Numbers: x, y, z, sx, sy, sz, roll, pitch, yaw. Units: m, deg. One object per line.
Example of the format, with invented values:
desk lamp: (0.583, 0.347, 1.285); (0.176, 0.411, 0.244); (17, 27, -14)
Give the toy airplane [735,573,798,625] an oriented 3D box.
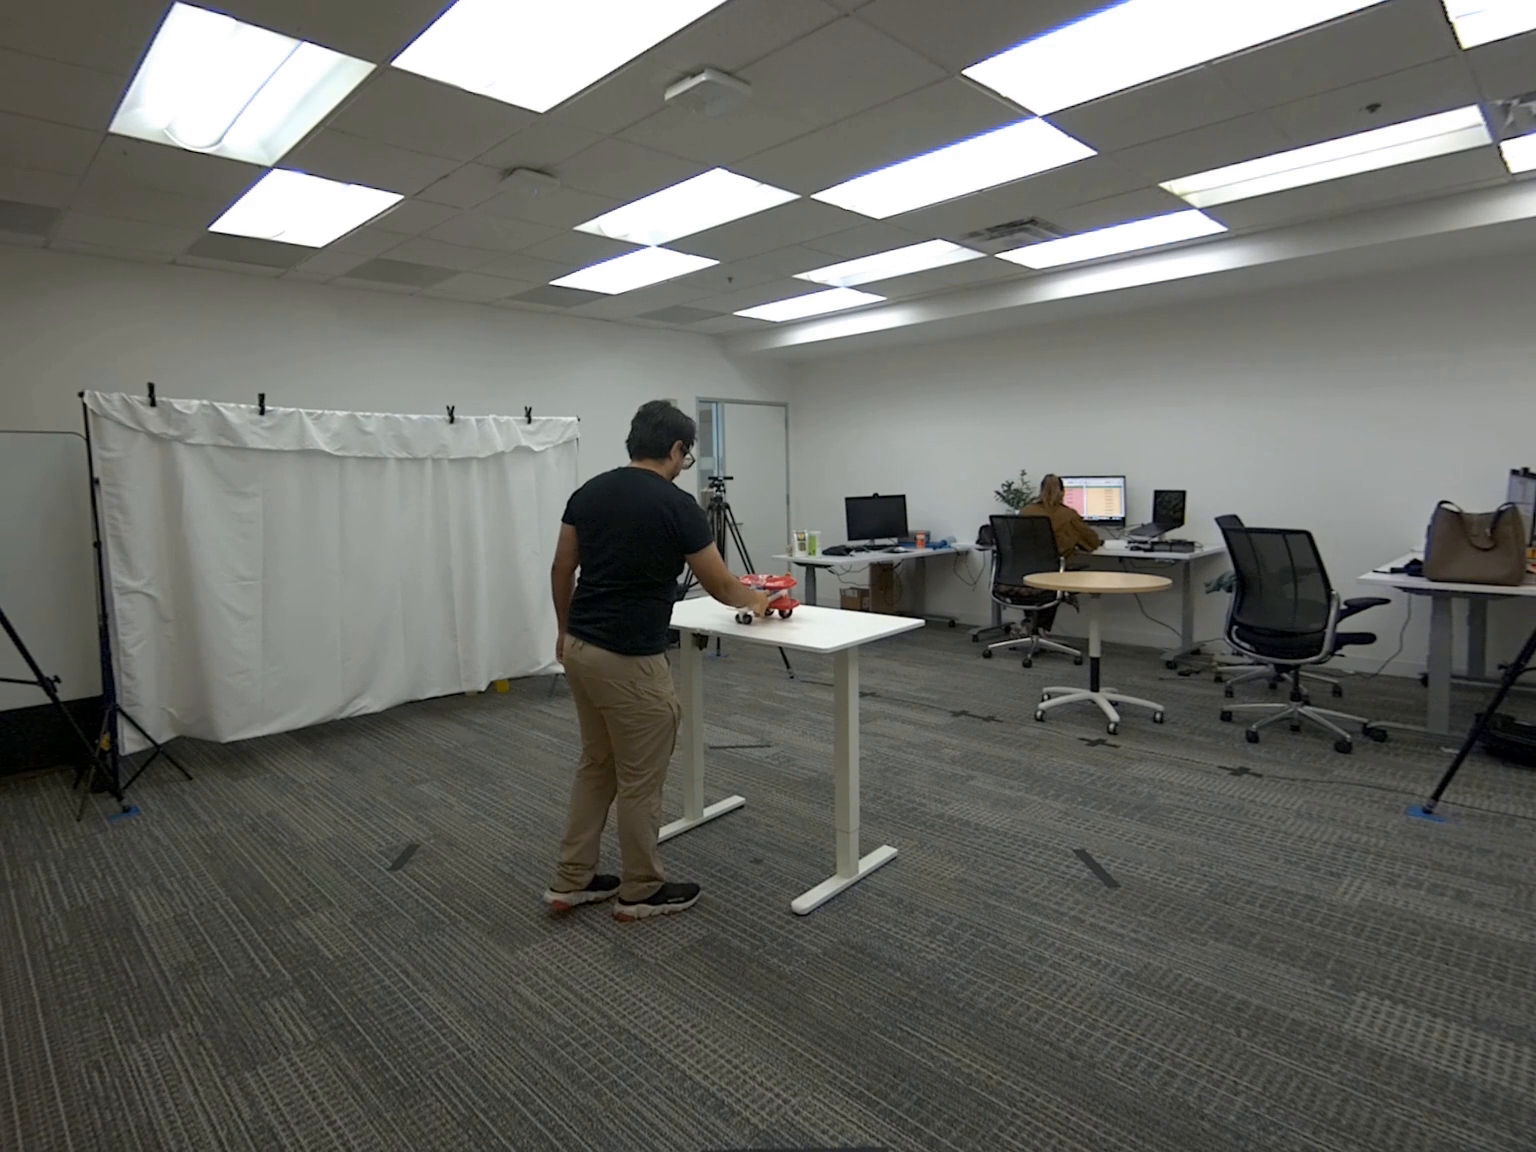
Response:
toy airplane: (-0.006, 0.082, 3.052); (0.255, 0.156, 0.256); (1, 6, 16)
